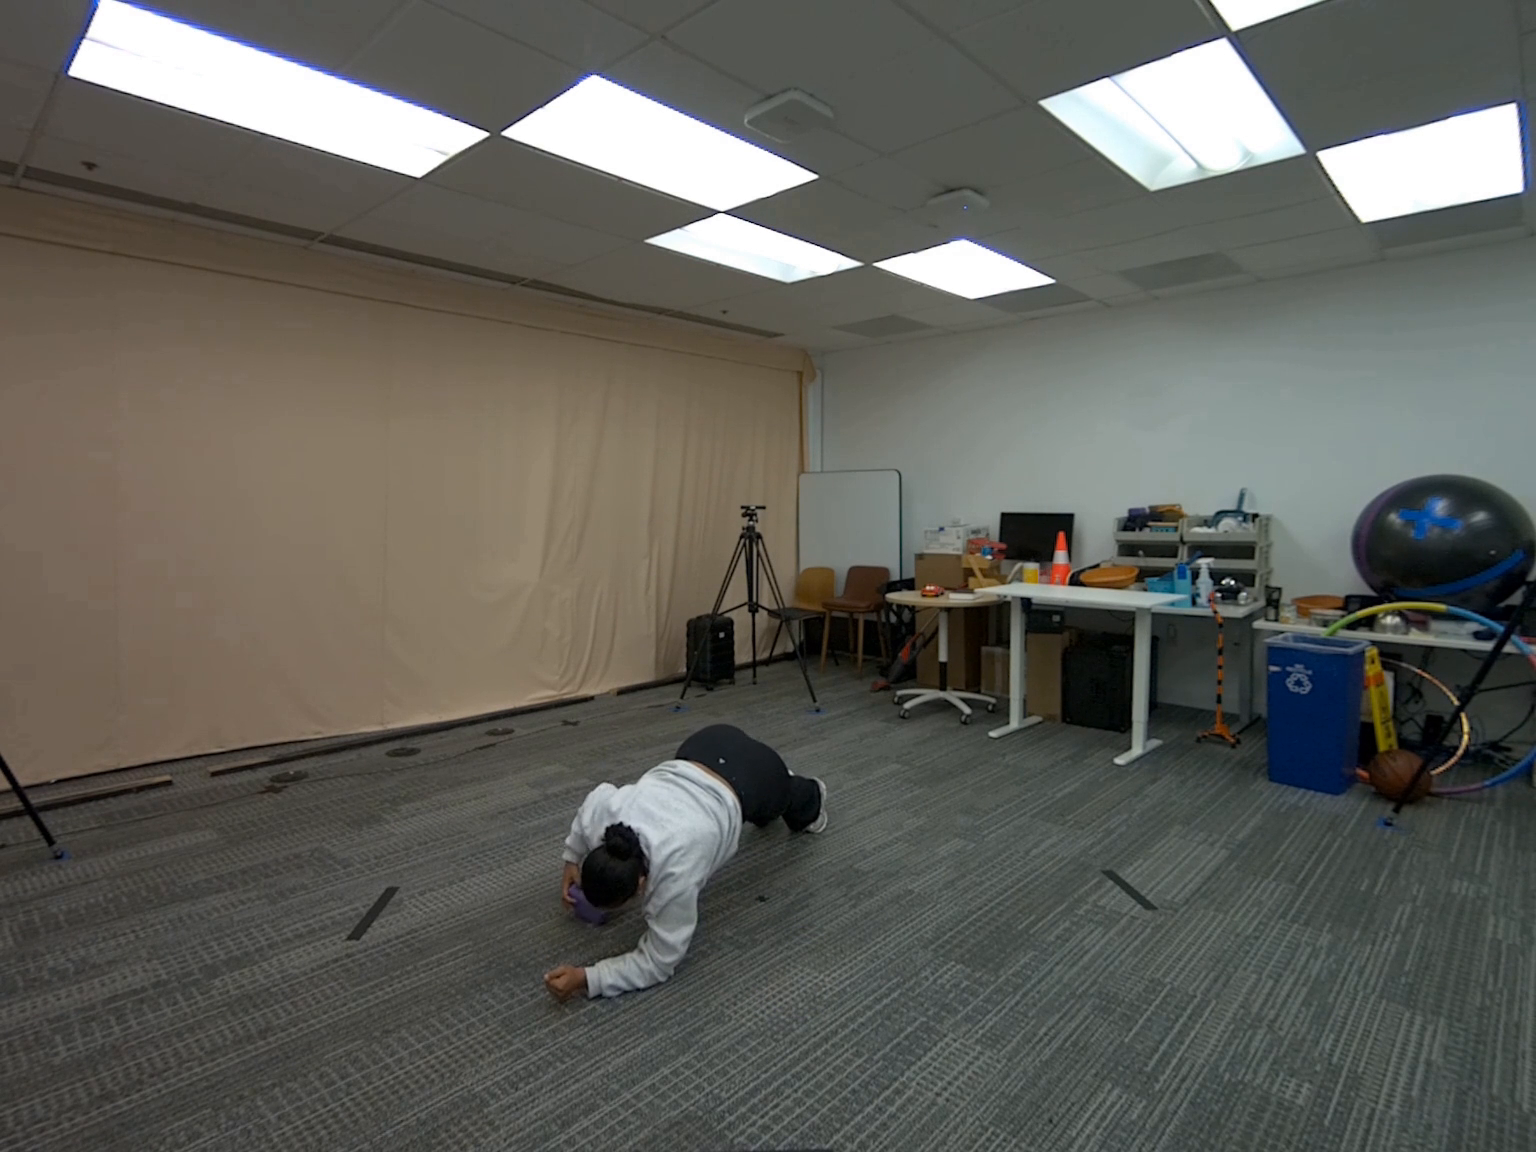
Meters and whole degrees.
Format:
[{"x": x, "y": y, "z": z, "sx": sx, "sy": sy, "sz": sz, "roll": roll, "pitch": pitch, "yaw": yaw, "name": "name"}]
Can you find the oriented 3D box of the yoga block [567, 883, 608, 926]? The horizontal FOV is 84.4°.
[{"x": -0.561, "y": 1.096, "z": 2.871, "sx": 0.149, "sy": 0.075, "sz": 0.231, "roll": 6, "pitch": 21, "yaw": 0, "name": "yoga block"}]
